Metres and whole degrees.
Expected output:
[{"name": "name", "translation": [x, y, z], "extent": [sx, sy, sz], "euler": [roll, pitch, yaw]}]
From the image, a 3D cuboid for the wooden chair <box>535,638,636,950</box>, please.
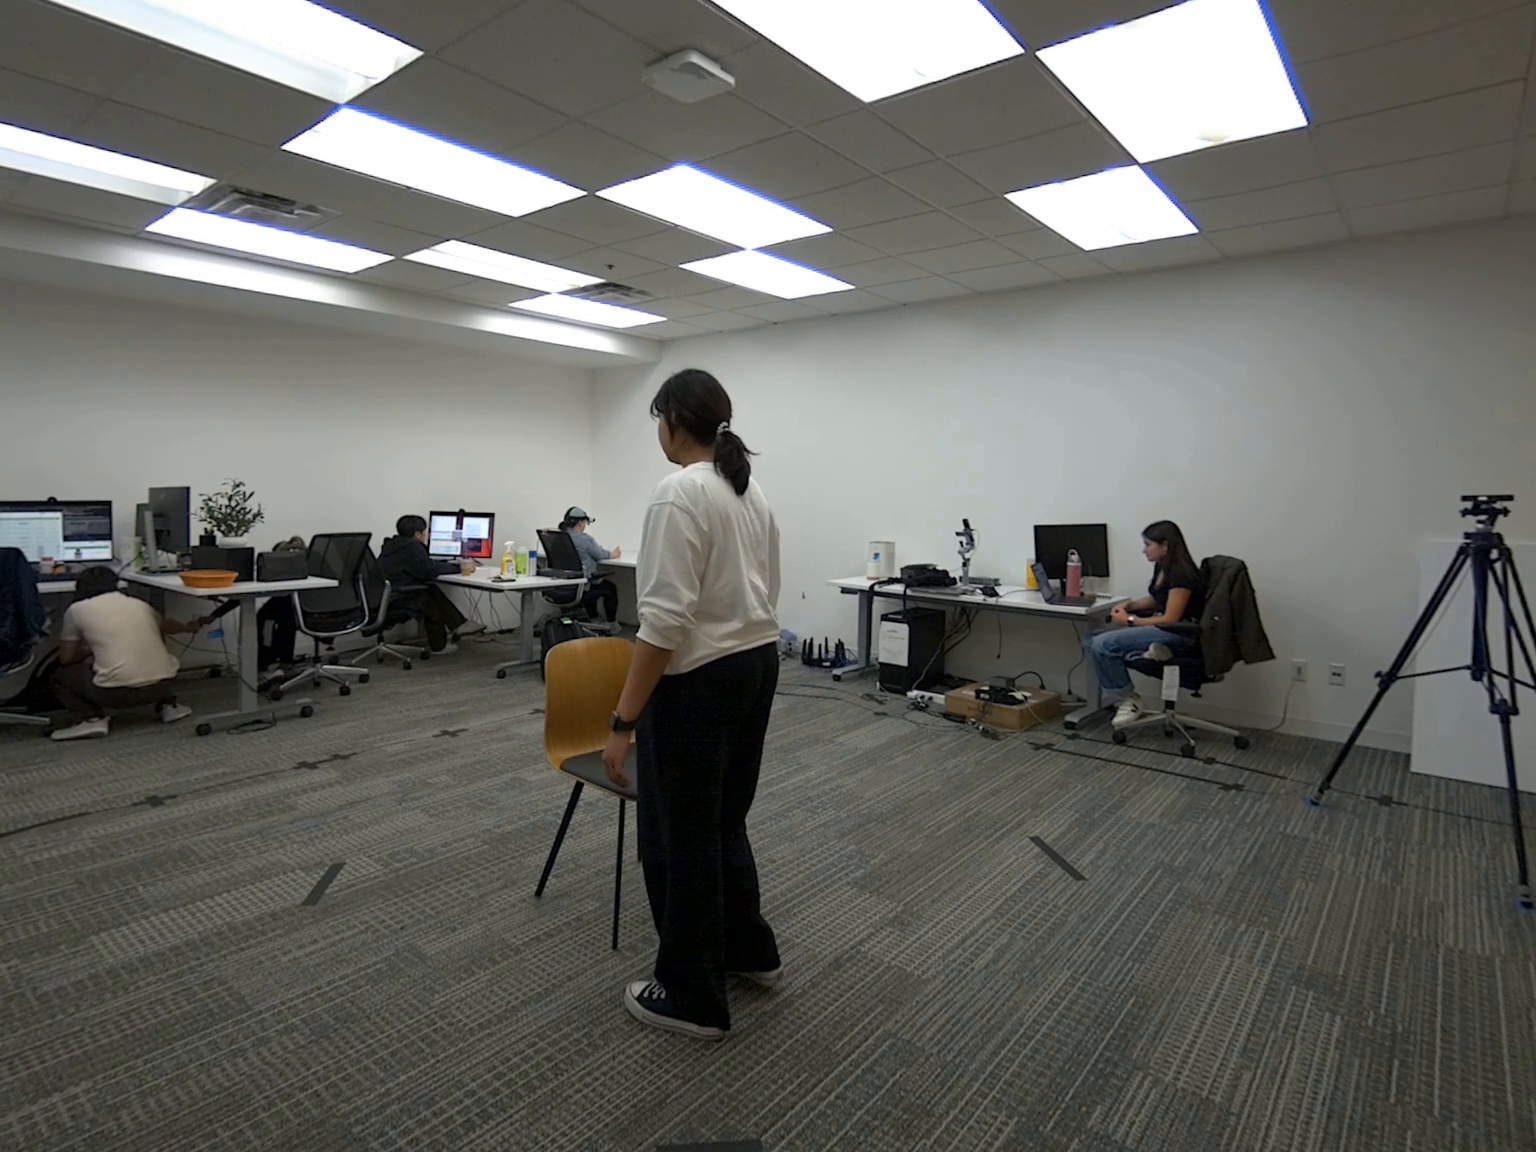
[{"name": "wooden chair", "translation": [-0.458, 0.659, 2.828], "extent": [0.463, 0.878, 0.539], "euler": [-2, 0, -45]}]
